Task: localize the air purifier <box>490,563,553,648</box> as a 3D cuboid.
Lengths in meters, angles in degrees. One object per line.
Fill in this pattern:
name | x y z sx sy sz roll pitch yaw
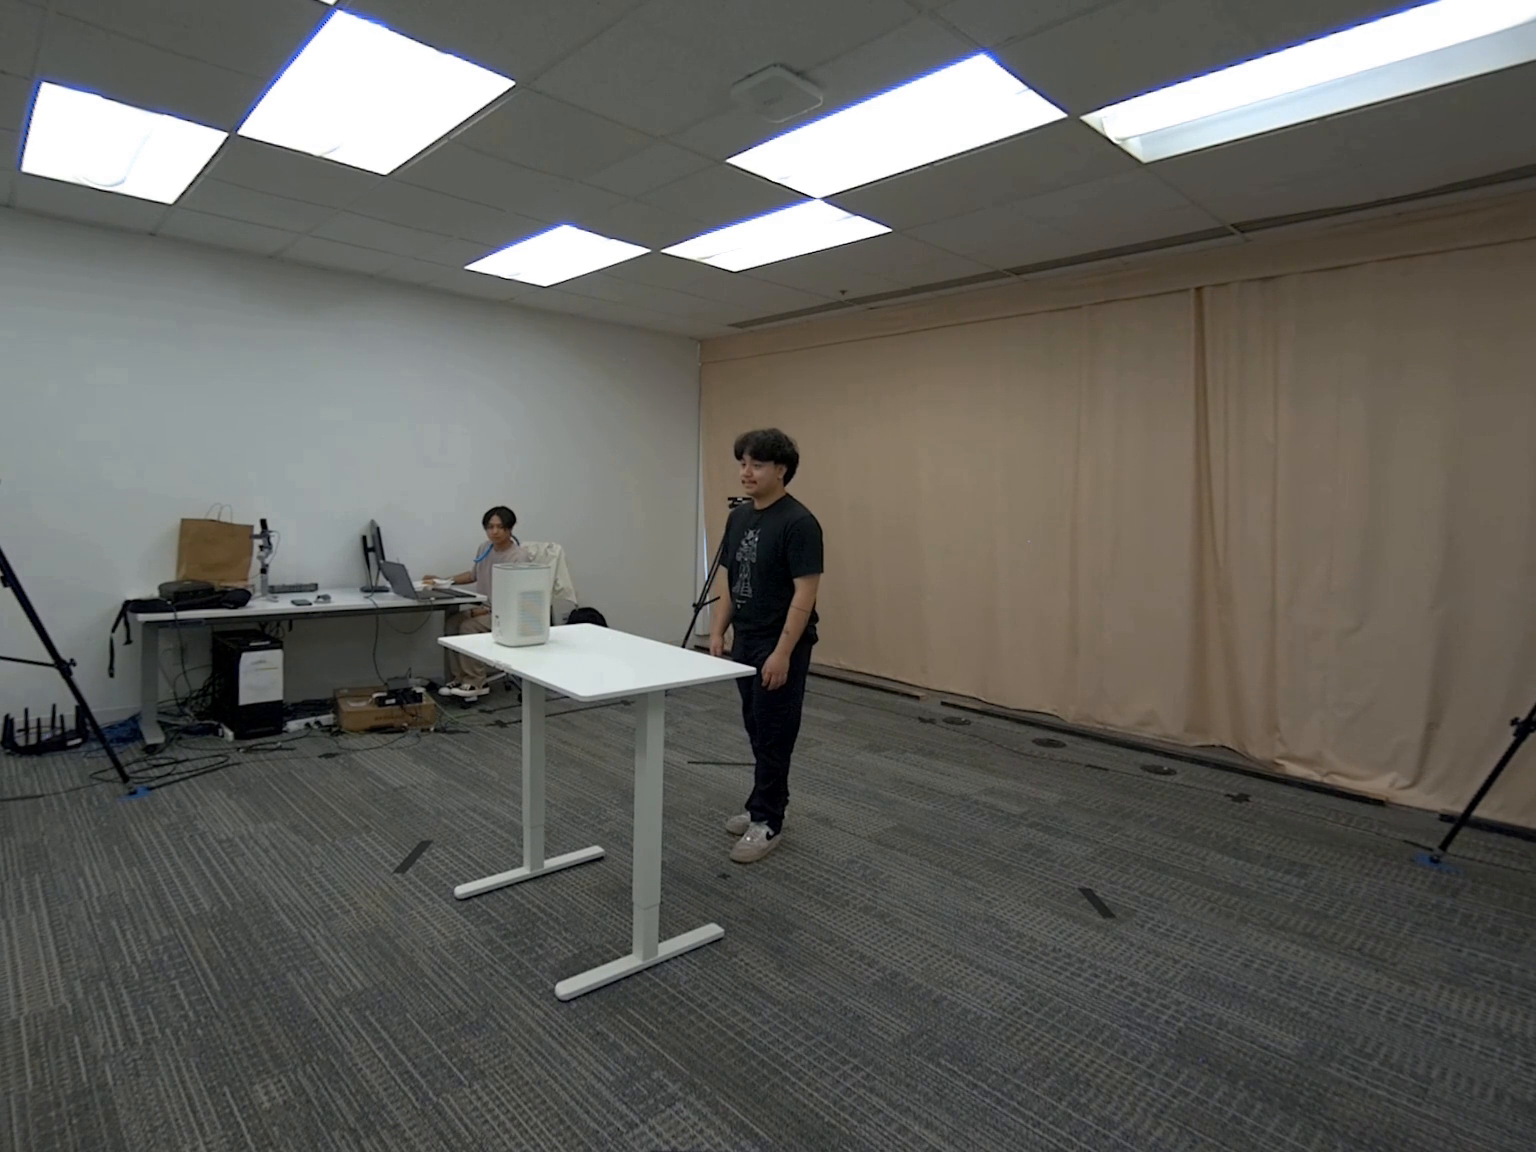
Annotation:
air purifier | -0.852 0.097 2.854 0.168 0.264 0.175 -4 8 -41
